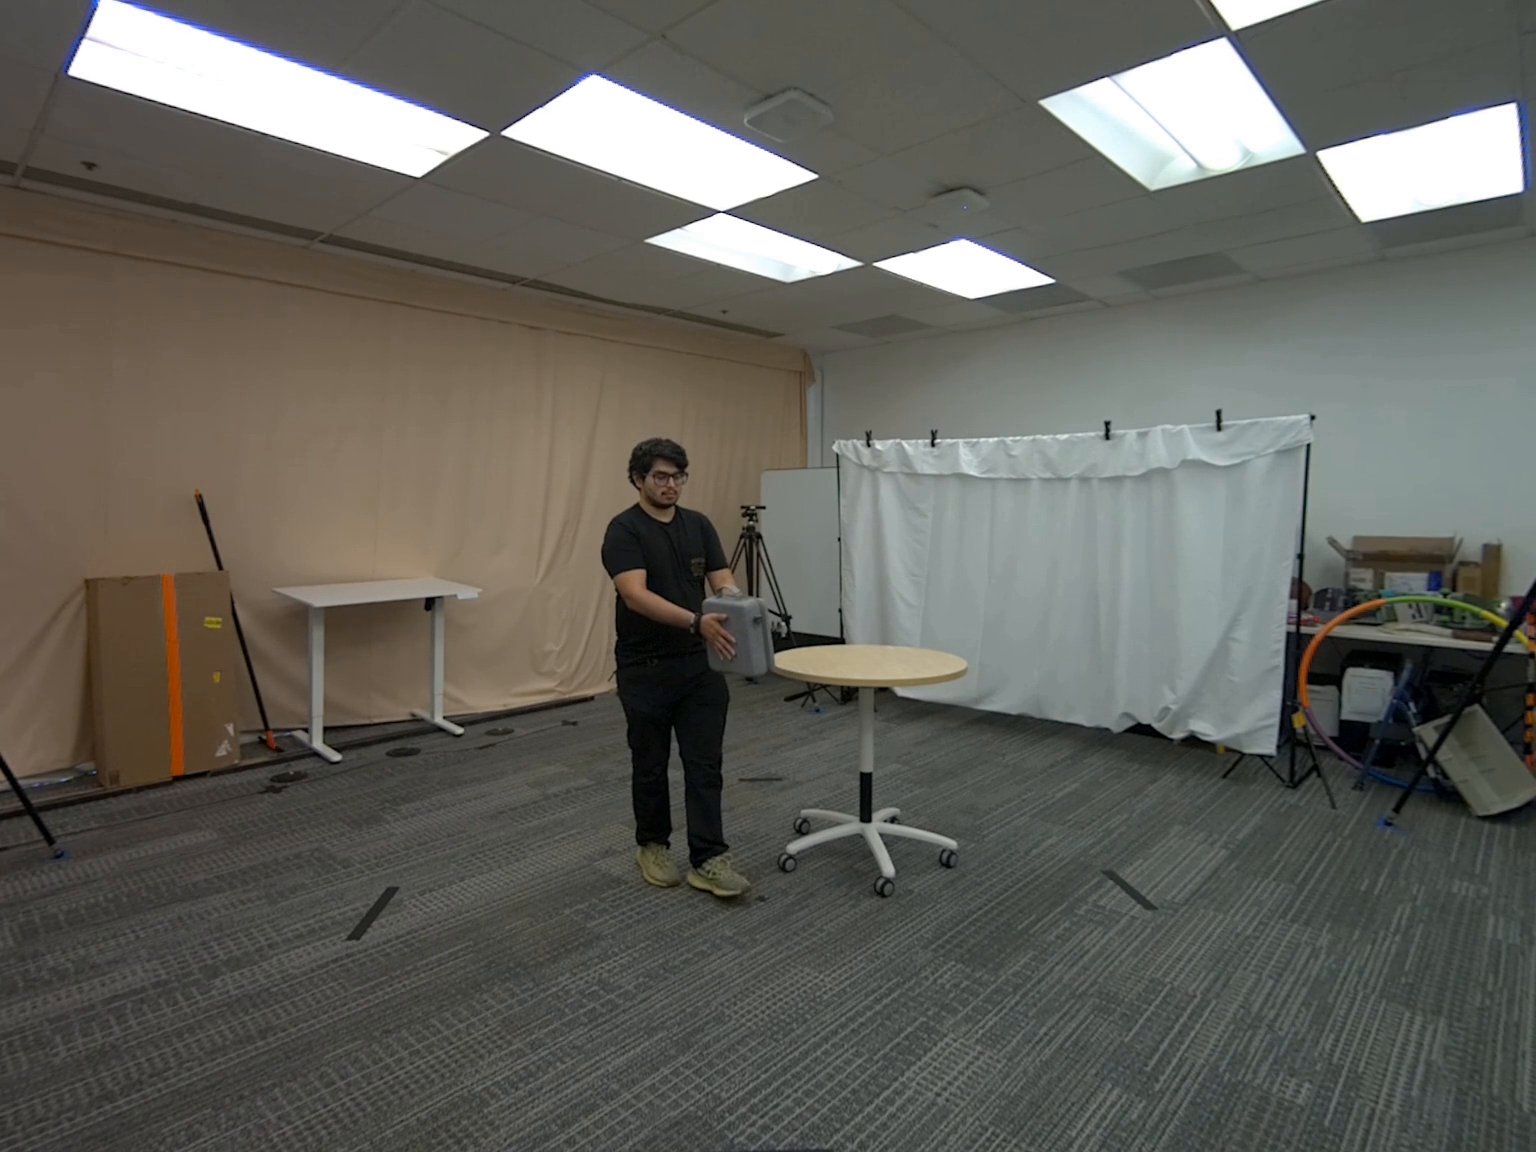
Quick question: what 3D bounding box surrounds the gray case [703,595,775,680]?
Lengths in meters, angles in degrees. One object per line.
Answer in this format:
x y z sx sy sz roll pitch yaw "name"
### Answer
-0.093 0.193 2.764 0.101 0.259 0.265 -11 7 -35 "gray case"
